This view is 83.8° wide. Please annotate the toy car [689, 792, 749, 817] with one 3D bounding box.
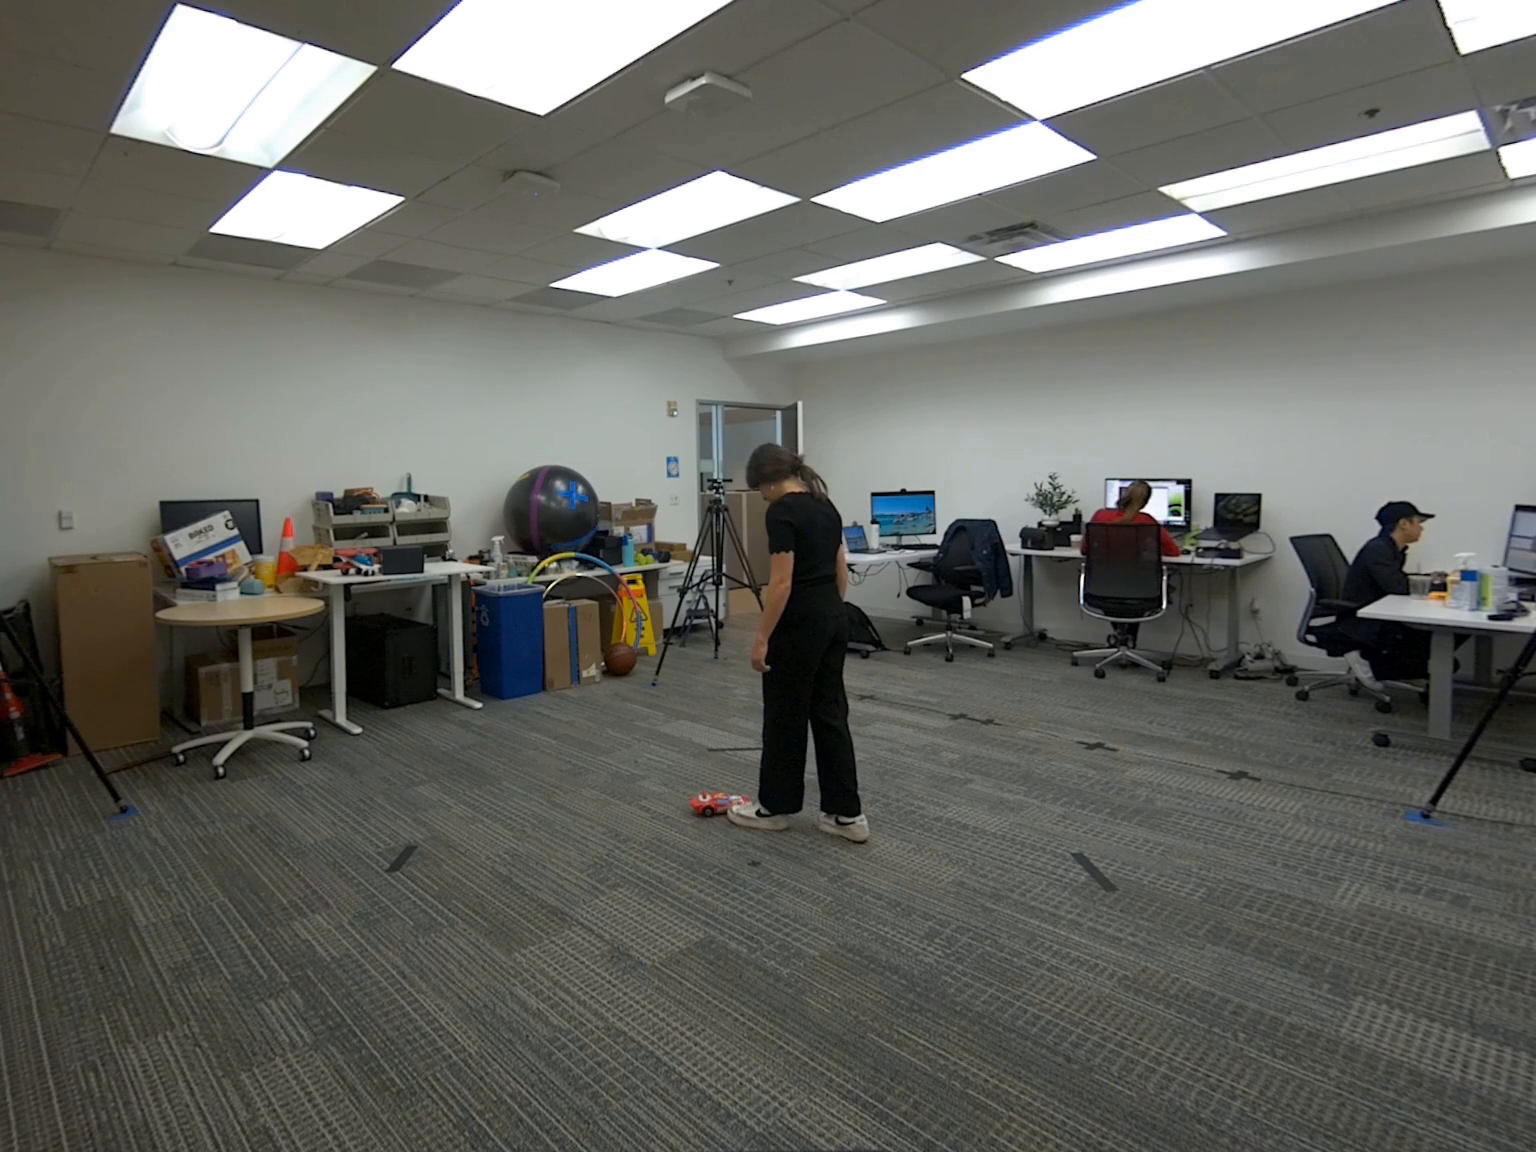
[{"bbox_3d":[-0.210,0.961,3.595,0.253,0.083,0.131,10,3,-7],"label":"toy car"}]
